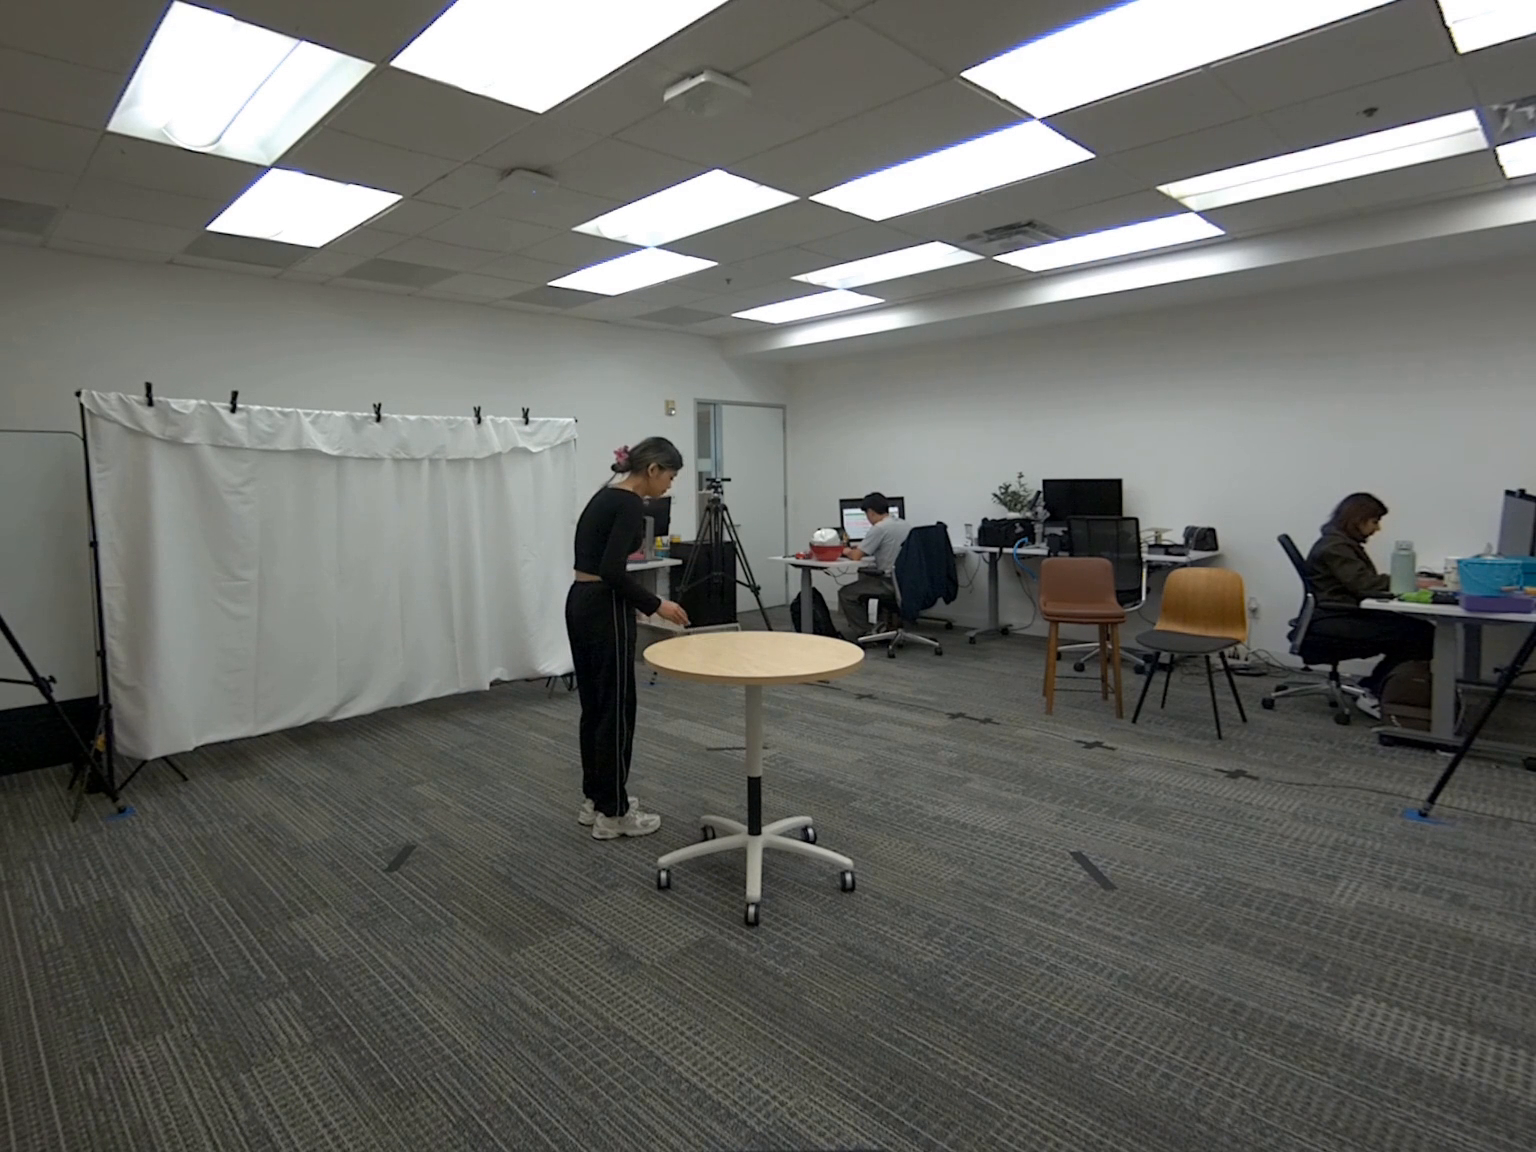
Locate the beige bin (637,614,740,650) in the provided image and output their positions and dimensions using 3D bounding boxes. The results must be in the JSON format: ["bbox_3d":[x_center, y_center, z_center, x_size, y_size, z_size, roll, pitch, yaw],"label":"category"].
[{"bbox_3d":[-0.378,0.275,3.672,0.367,0.188,0.436,-6,10,-42],"label":"beige bin"}]
